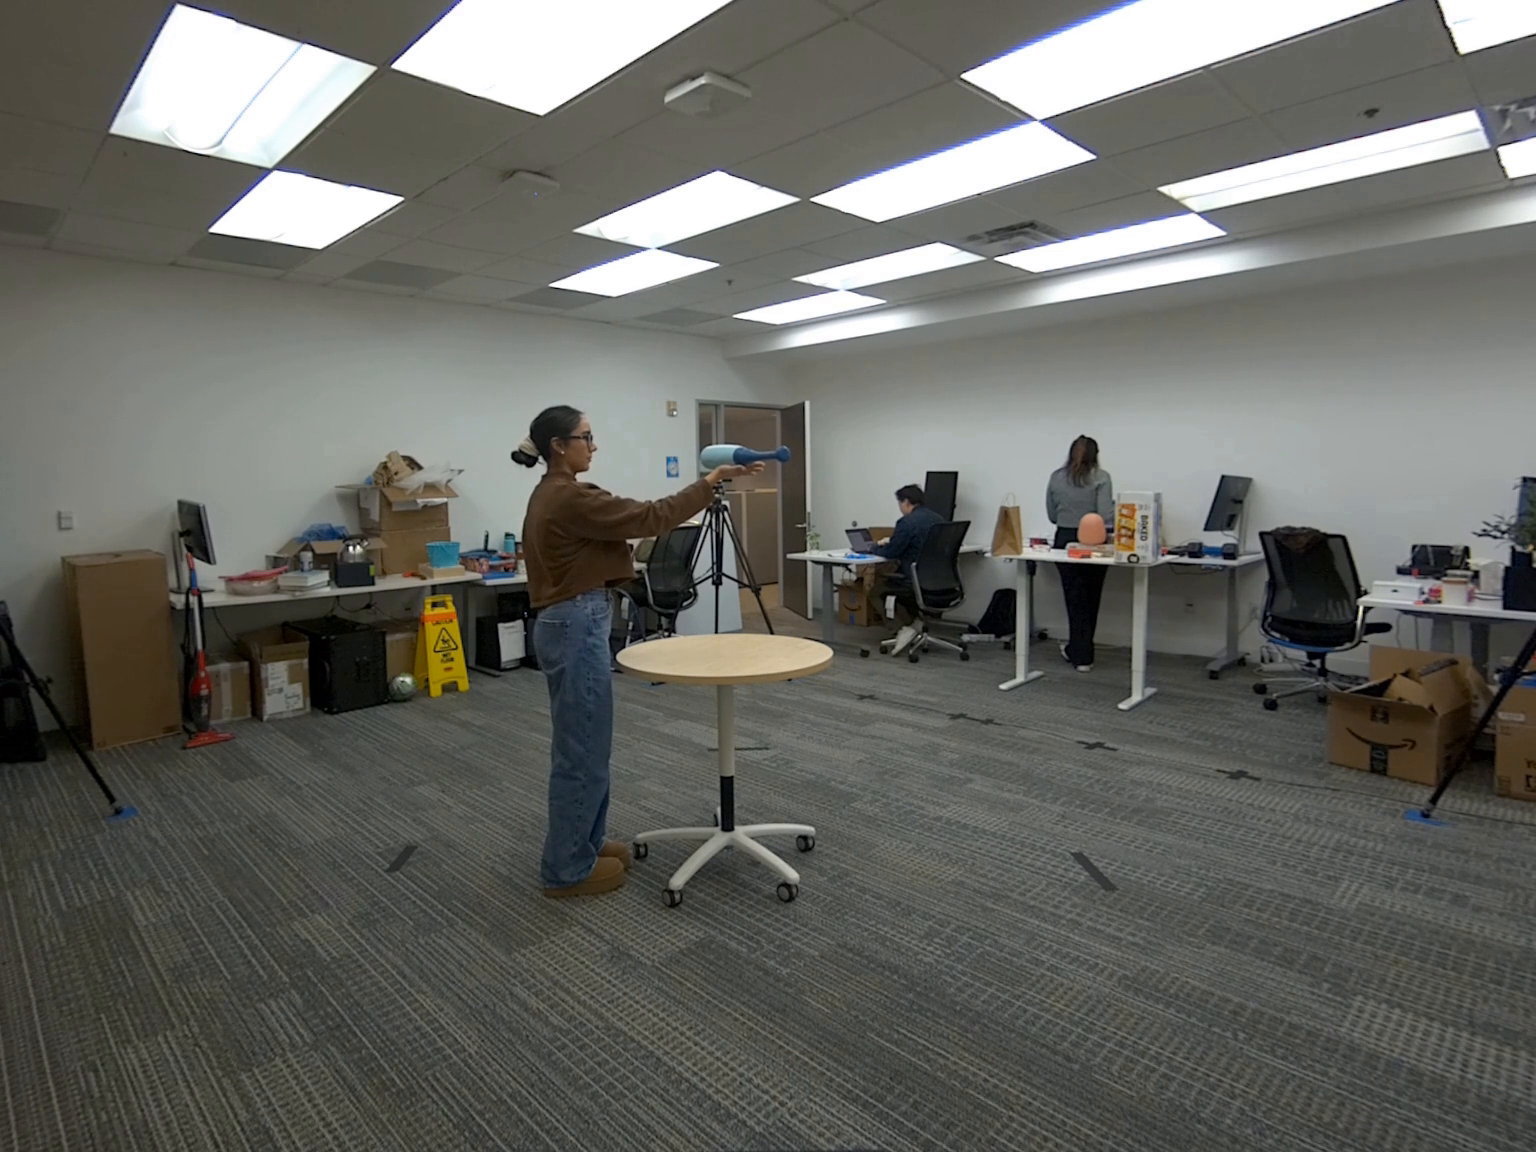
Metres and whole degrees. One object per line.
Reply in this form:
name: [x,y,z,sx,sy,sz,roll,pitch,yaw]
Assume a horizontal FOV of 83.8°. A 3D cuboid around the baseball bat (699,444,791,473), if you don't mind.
baseball bat: [-0.081,-0.407,2.918,0.087,0.088,0.558,-4,7,-29]
